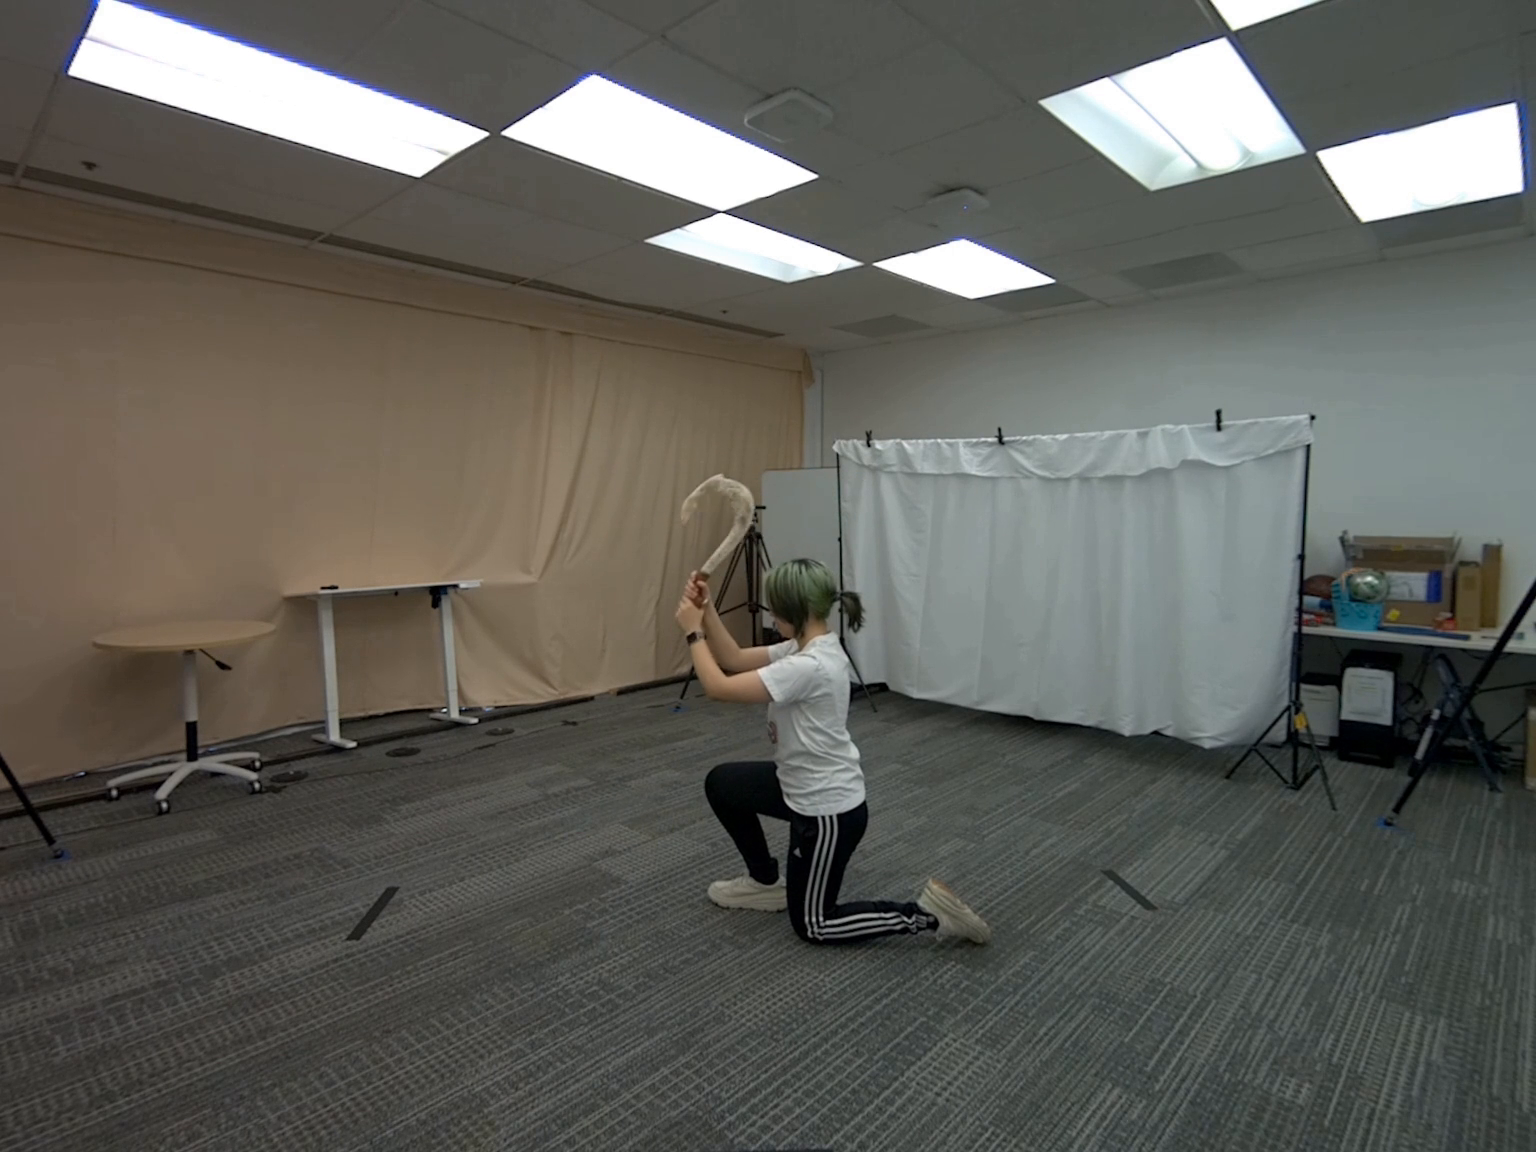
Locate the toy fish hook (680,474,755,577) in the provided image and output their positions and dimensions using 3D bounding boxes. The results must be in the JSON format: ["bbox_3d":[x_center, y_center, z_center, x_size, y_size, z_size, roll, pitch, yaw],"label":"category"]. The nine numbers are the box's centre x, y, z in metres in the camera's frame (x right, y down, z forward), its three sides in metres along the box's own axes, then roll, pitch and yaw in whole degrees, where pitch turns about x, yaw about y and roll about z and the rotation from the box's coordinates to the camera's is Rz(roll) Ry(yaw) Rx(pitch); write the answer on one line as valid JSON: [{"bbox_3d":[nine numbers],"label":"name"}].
[{"bbox_3d":[-0.218,-0.068,2.736,0.228,0.506,0.047,25,4,12],"label":"toy fish hook"}]
